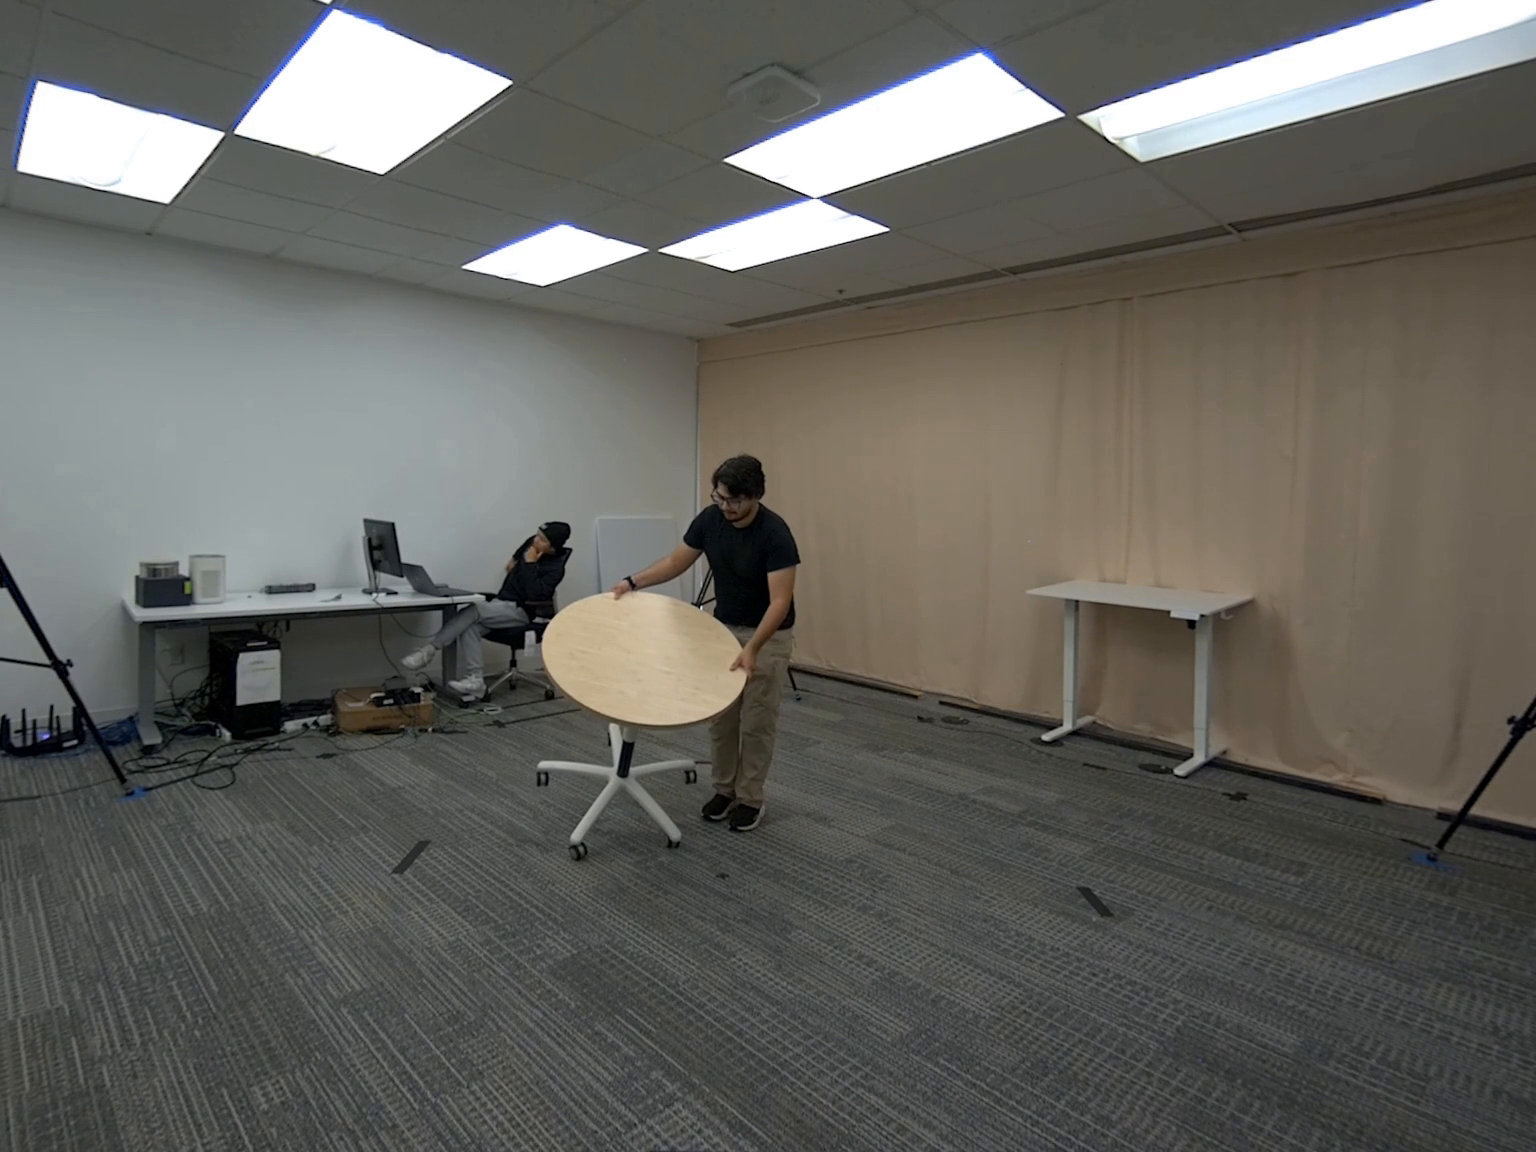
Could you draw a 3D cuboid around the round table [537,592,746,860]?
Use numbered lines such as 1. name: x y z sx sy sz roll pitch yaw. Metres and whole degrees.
1. round table: -0.559 0.606 3.312 0.780 0.775 0.801 10 31 -7
